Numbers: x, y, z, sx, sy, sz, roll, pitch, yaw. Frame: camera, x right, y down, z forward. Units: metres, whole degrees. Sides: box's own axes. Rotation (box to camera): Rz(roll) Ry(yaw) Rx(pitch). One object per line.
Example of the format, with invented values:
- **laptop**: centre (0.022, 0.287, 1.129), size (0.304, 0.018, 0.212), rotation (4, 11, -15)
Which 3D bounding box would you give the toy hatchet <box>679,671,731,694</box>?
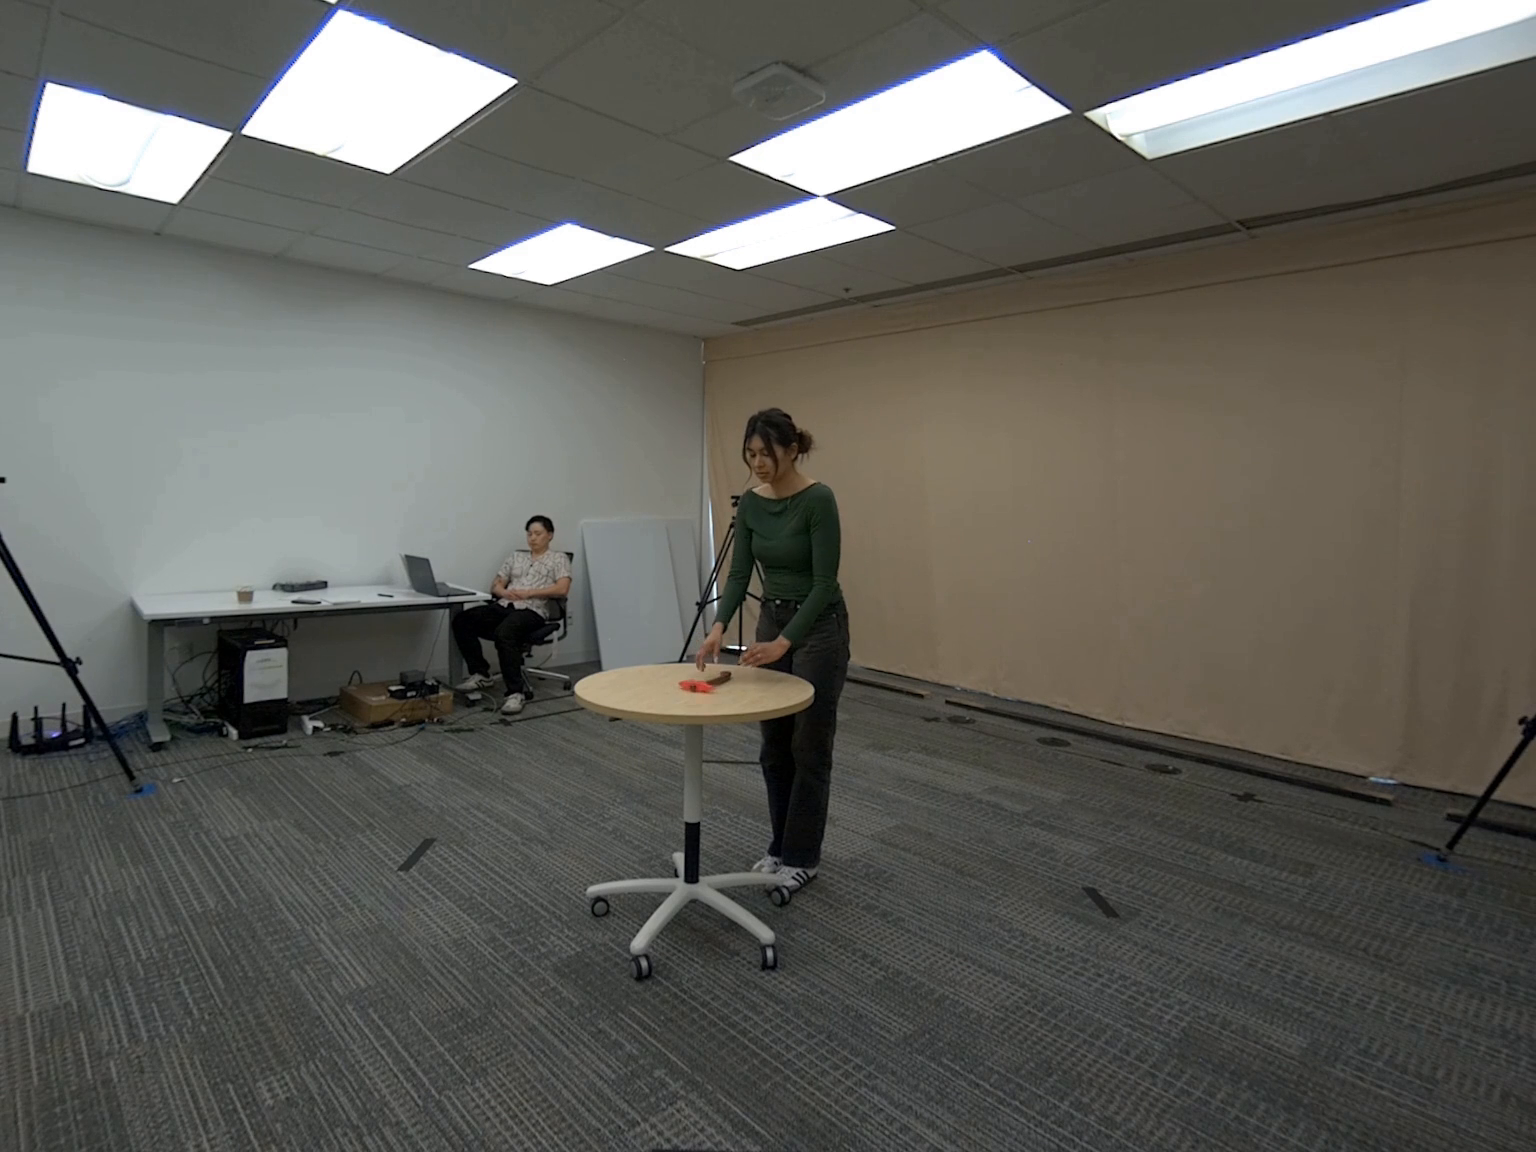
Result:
- **toy hatchet**: centre (-0.212, 0.343, 2.727), size (0.132, 0.029, 0.268), rotation (-1, 2, 8)
